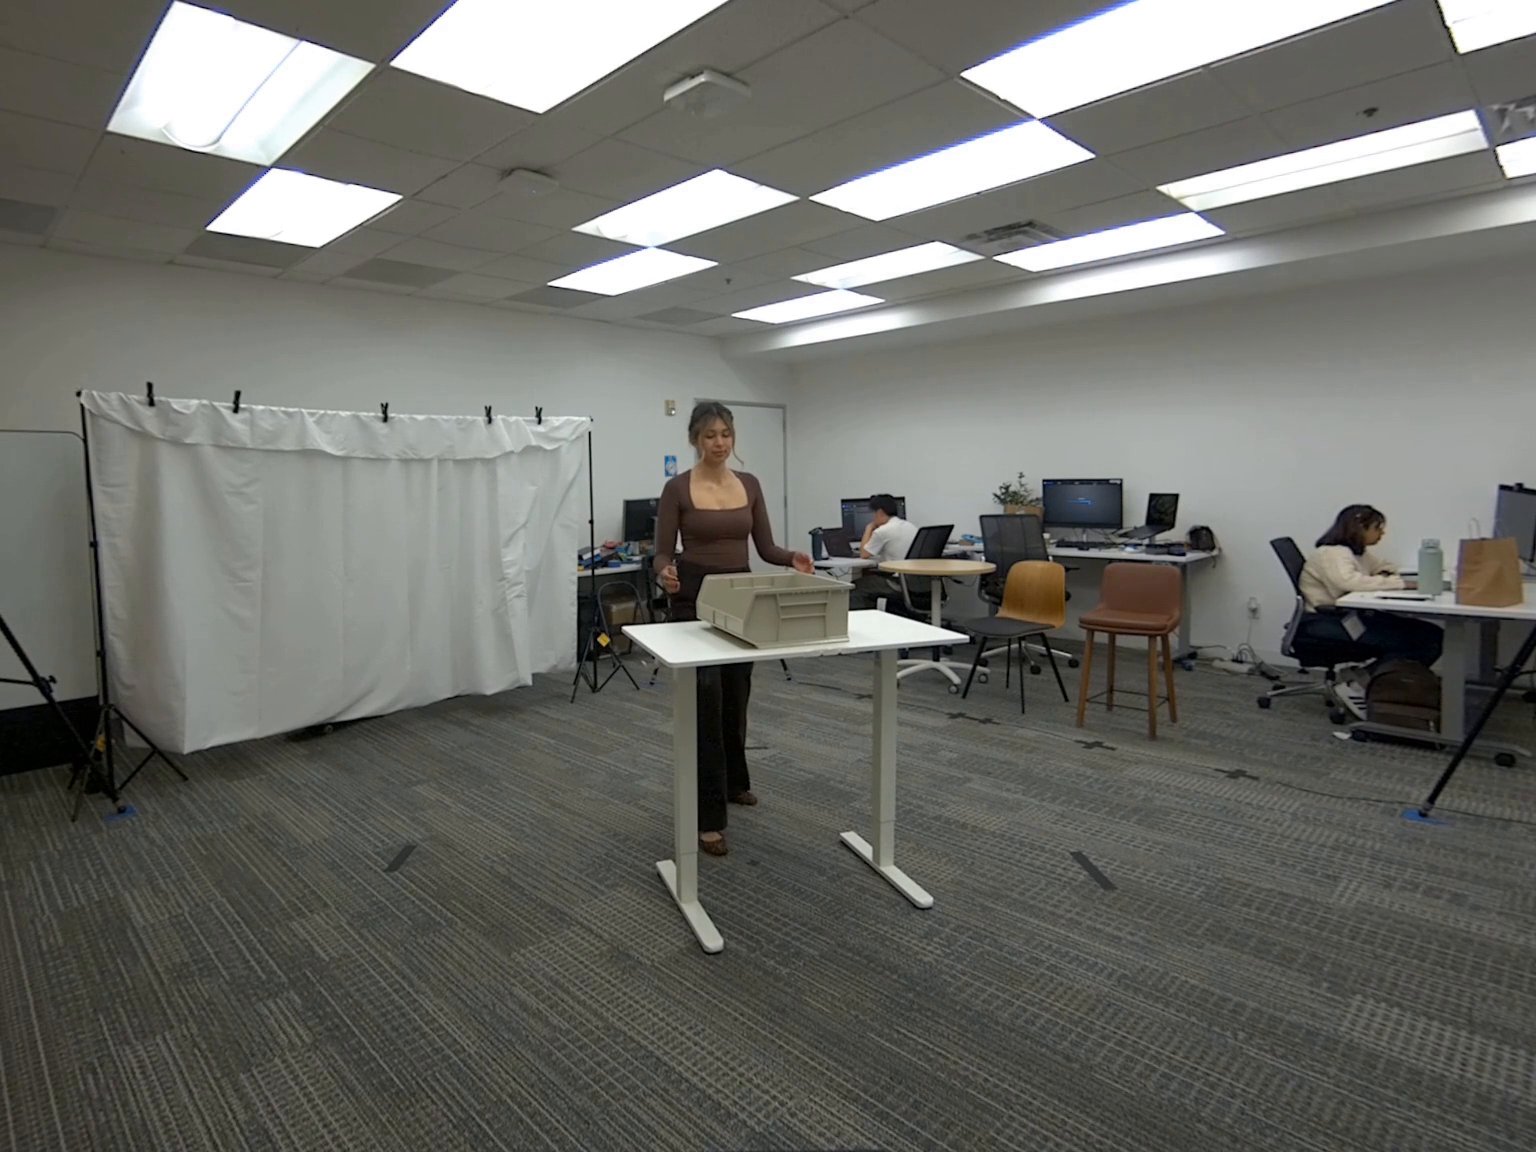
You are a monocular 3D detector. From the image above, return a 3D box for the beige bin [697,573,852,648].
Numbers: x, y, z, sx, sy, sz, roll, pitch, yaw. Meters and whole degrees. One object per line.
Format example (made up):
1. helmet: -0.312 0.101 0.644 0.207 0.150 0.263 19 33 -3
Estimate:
1. beige bin: 0.016 0.105 2.789 0.370 0.188 0.432 -2 6 -23
